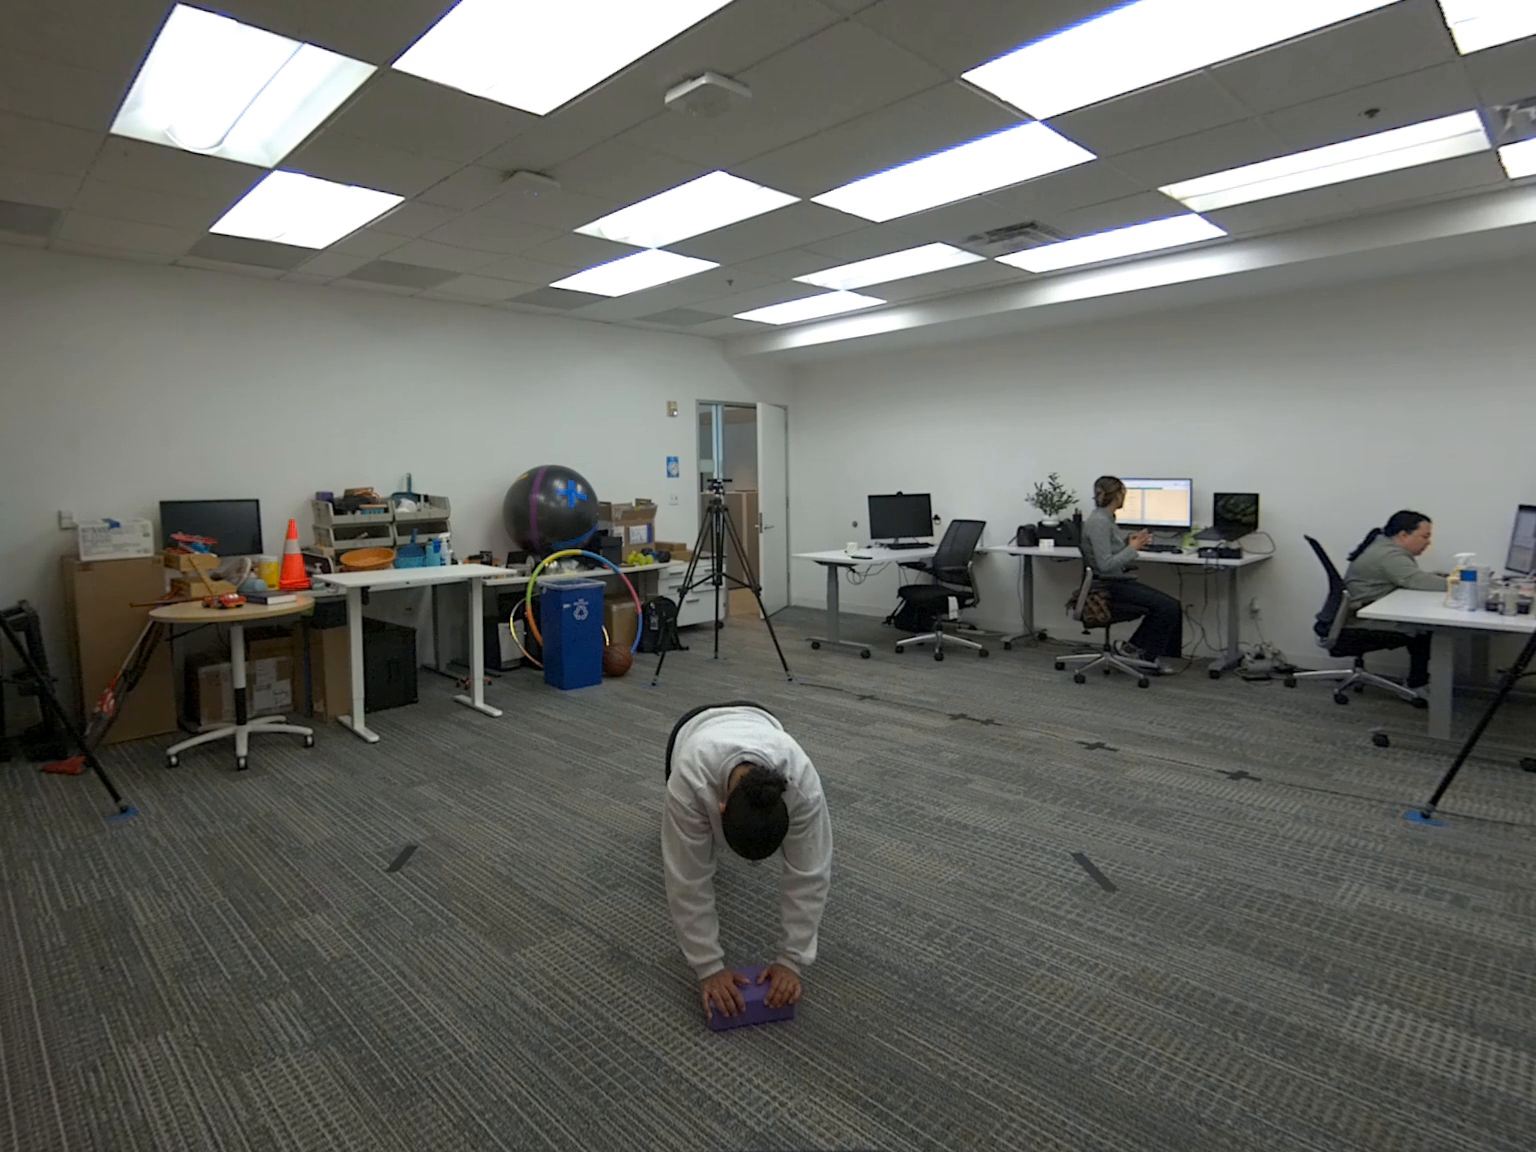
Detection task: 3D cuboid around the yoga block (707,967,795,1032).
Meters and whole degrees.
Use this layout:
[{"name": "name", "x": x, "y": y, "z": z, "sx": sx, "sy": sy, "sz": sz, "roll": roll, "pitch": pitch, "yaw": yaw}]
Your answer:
[{"name": "yoga block", "x": -0.047, "y": 1.120, "z": 2.253, "sx": 0.226, "sy": 0.076, "sz": 0.151, "roll": -3, "pitch": 5, "yaw": -14}]
